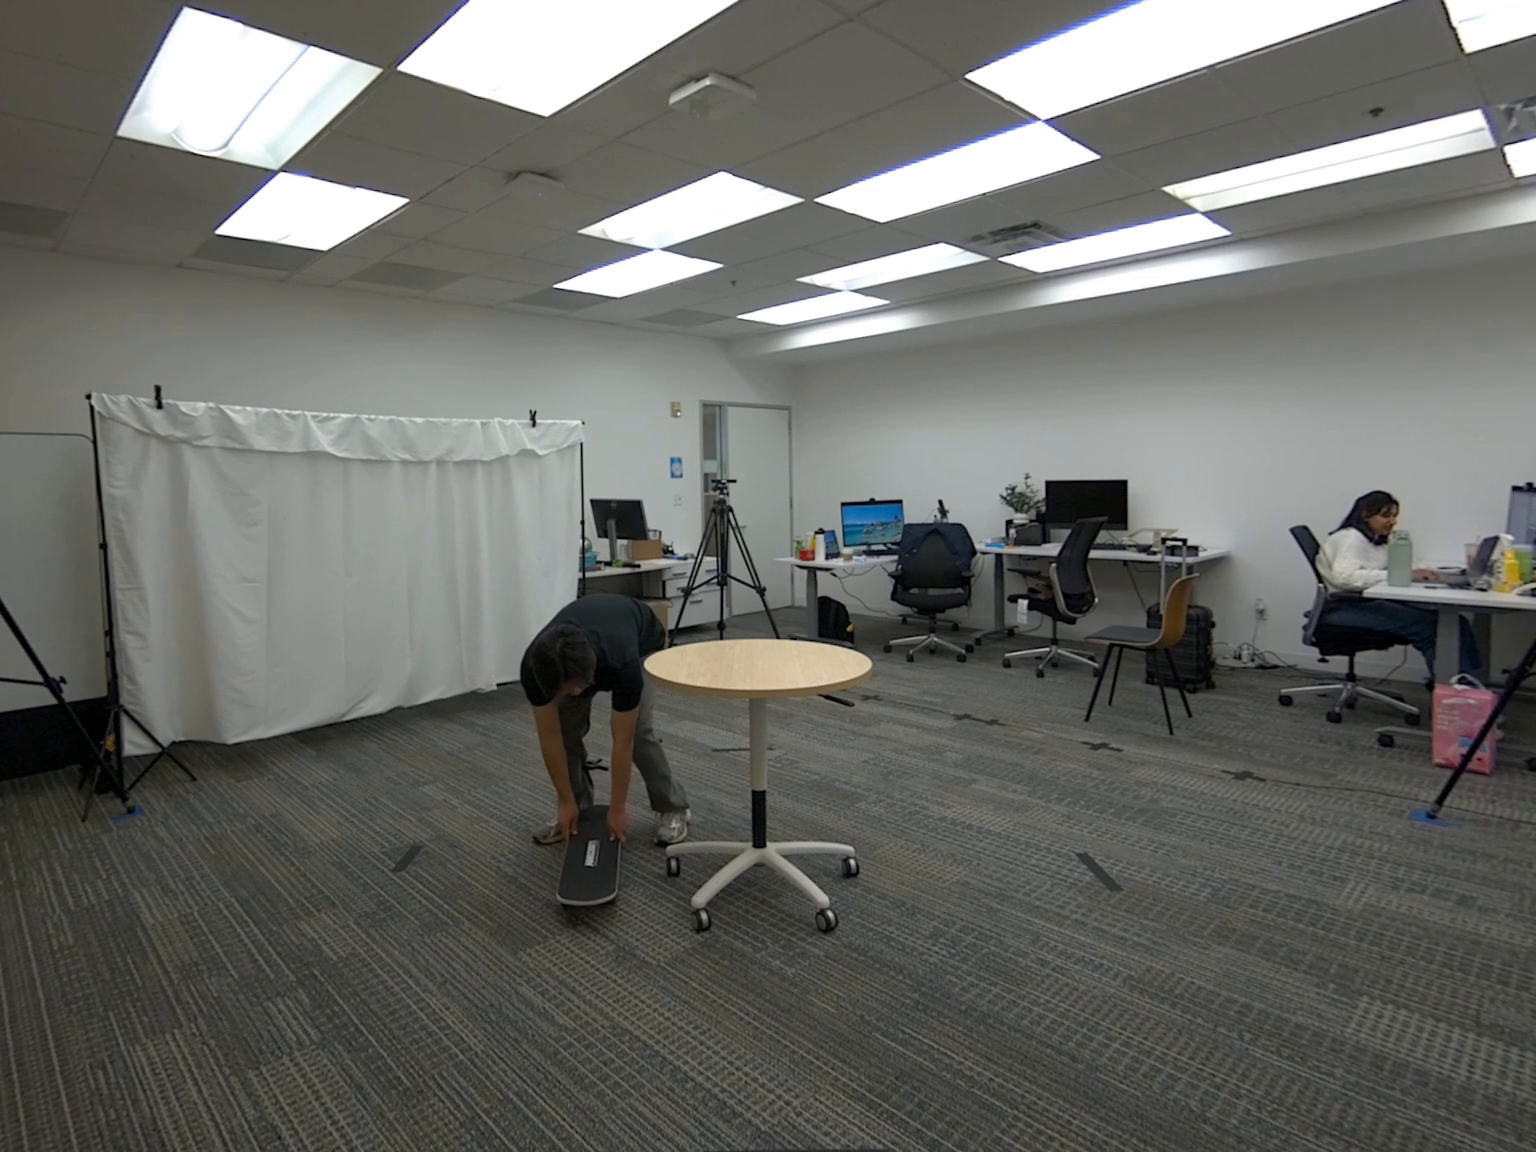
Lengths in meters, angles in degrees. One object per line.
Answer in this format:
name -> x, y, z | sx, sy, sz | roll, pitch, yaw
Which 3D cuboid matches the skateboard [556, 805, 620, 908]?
skateboard -> -0.611, 1.007, 3.023 | 0.192, 0.110, 0.794 | -2, 6, -8
